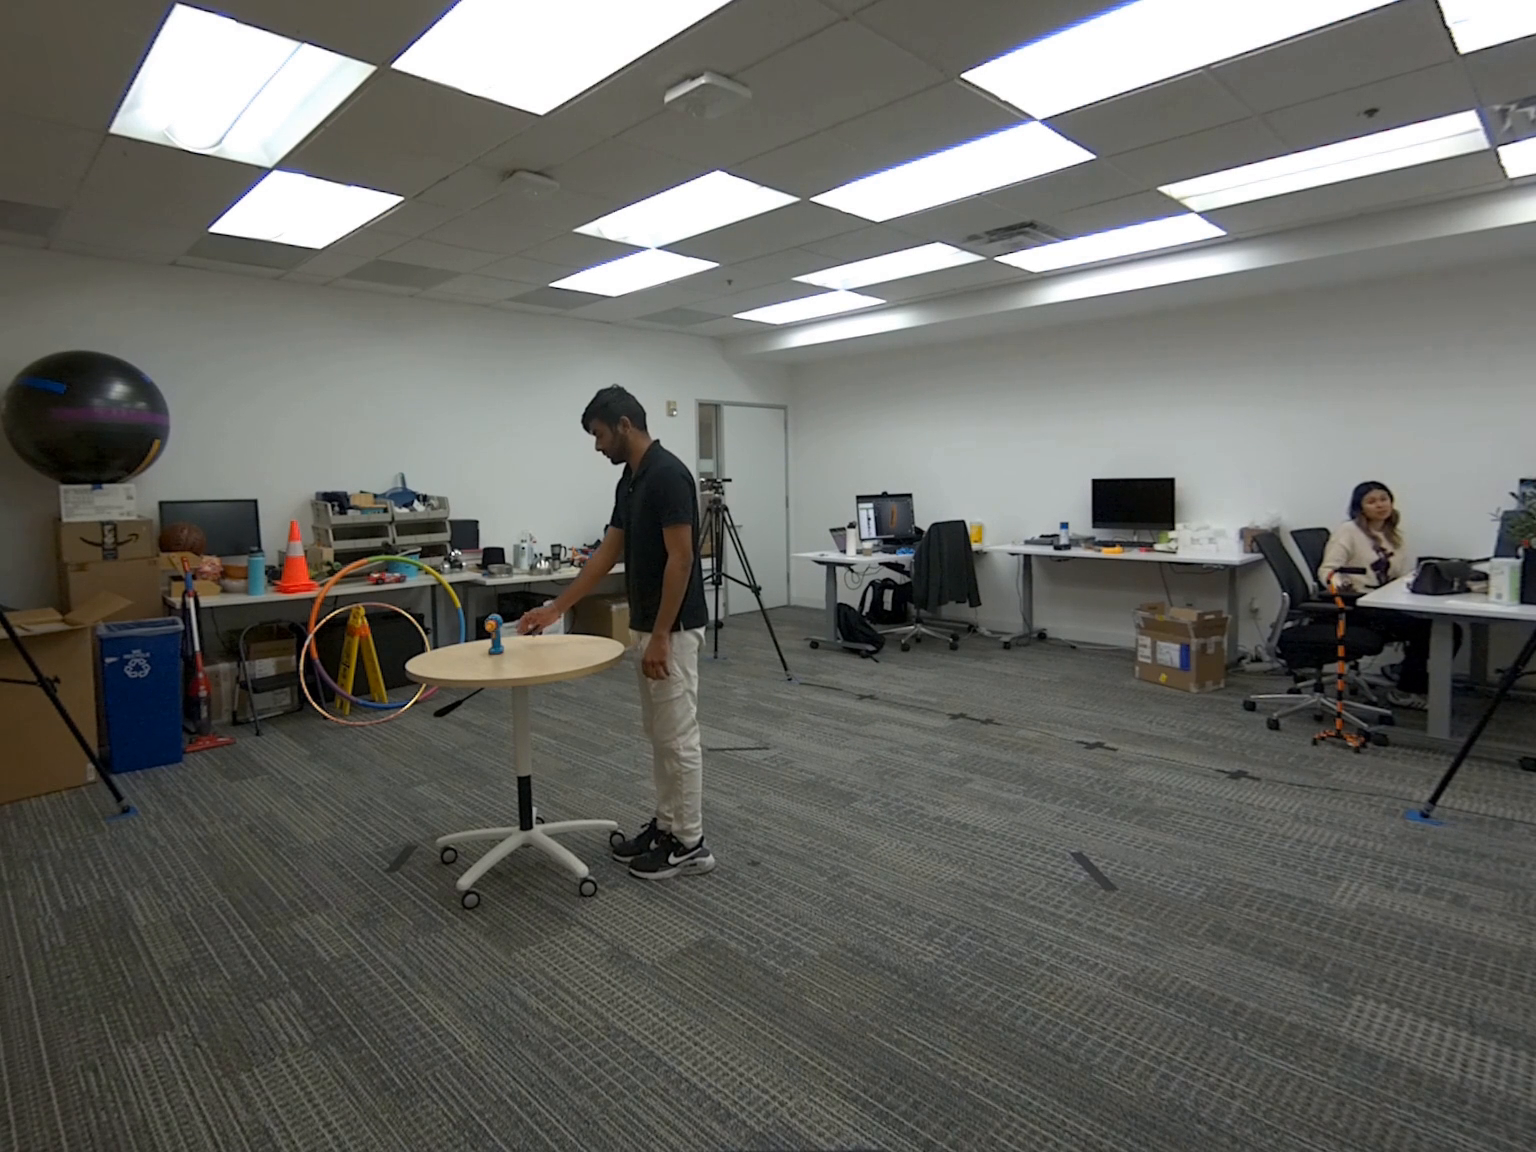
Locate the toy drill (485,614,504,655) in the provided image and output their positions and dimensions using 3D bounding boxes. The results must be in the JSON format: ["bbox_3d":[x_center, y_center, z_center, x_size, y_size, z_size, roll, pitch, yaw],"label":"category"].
[{"bbox_3d":[-0.987,0.211,3.080,0.061,0.145,0.171,-2,5,-6],"label":"toy drill"}]
